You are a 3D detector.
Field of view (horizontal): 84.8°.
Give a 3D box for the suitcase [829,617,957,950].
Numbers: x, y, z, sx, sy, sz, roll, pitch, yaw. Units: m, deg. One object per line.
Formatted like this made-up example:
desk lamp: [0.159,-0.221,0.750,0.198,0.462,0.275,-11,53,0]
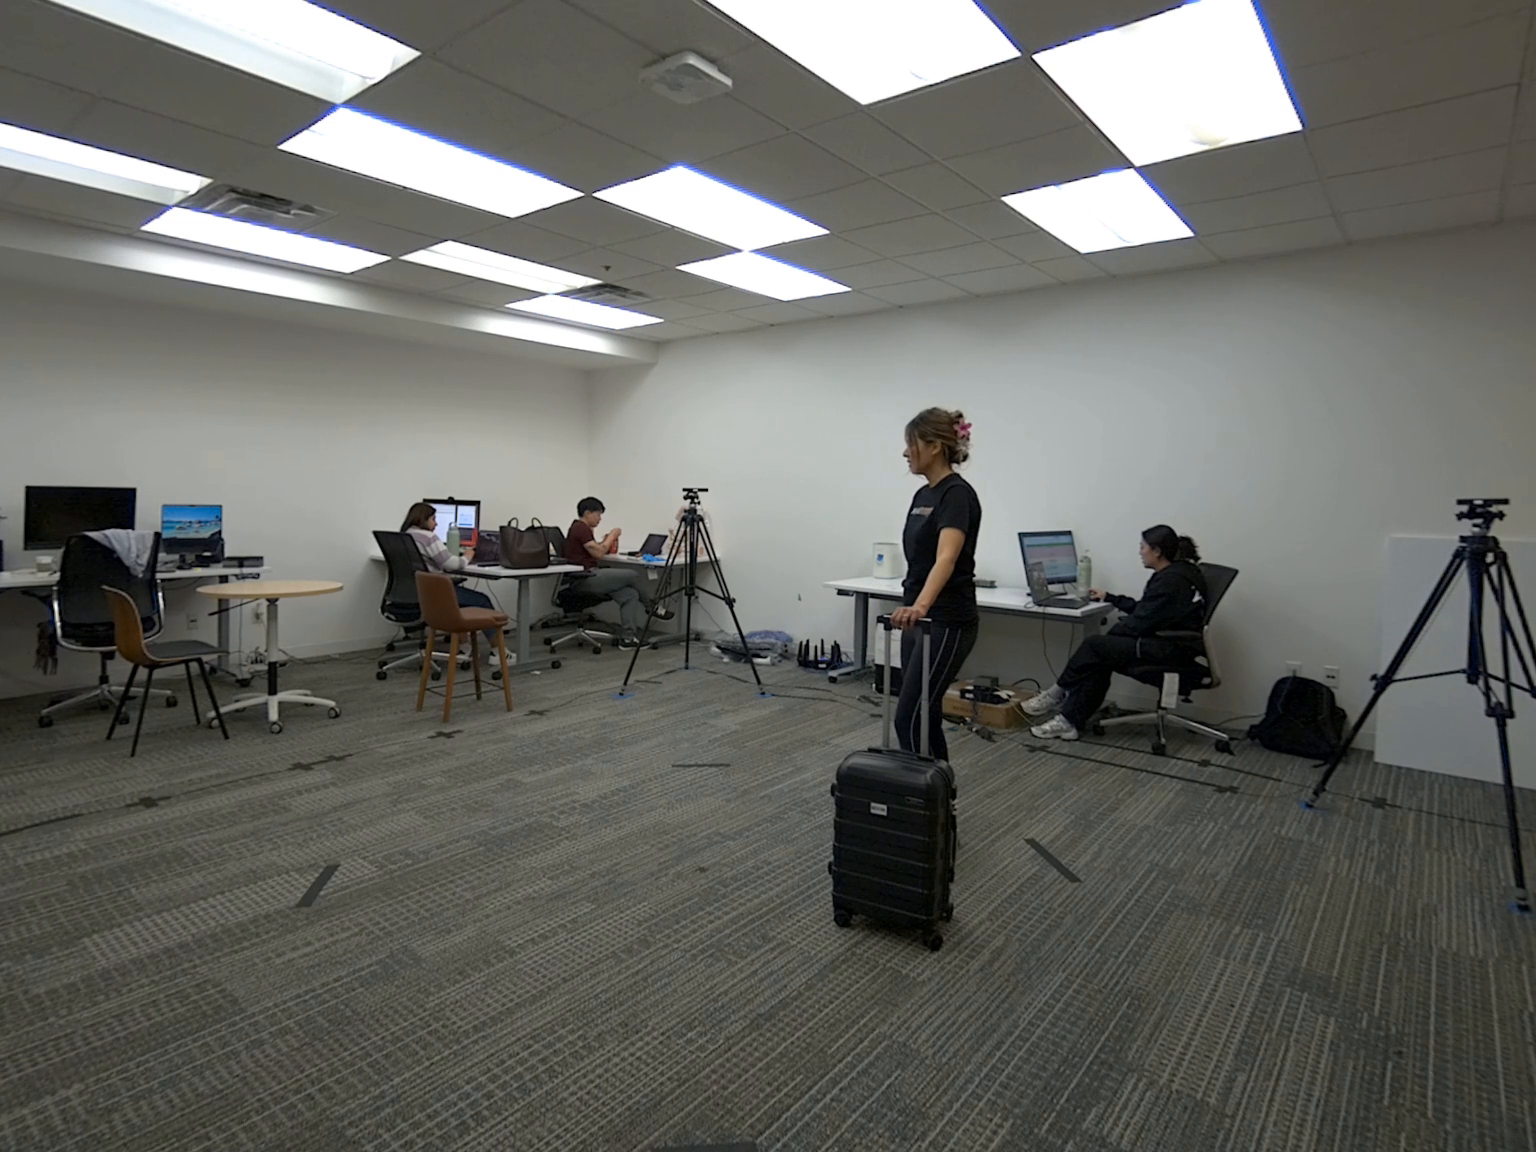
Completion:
suitcase: [0.407,0.642,2.728,0.394,0.975,0.251,3,5,27]
